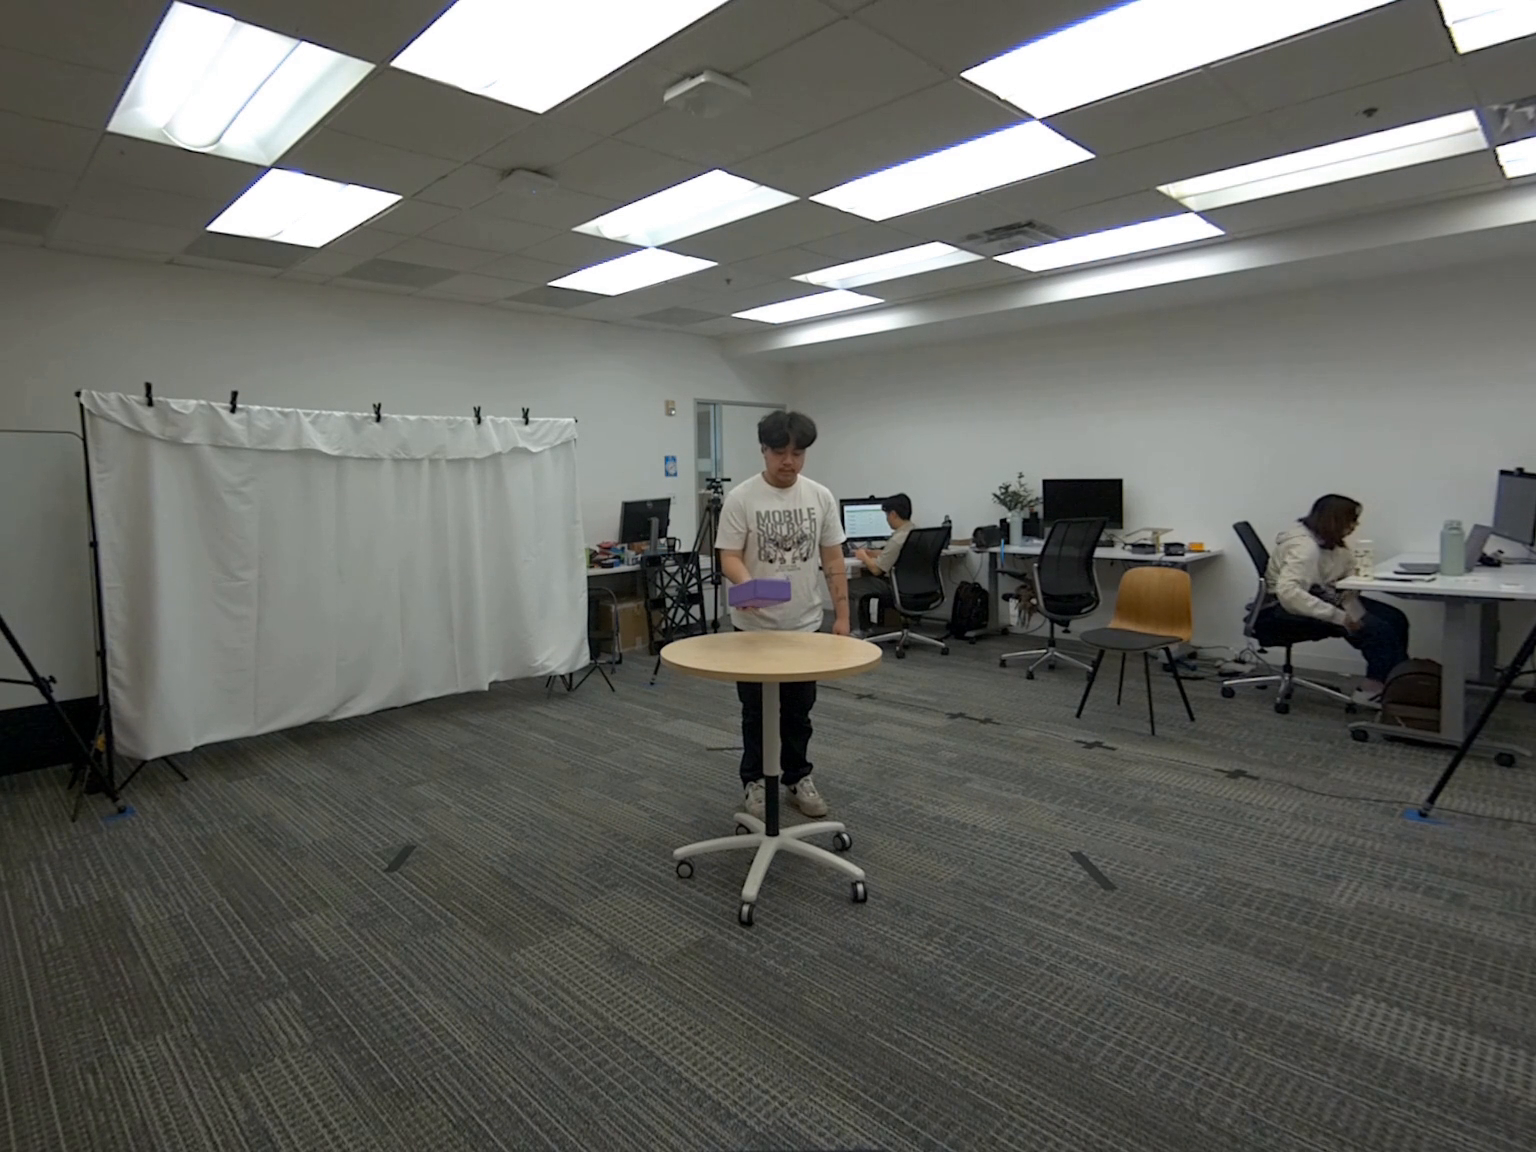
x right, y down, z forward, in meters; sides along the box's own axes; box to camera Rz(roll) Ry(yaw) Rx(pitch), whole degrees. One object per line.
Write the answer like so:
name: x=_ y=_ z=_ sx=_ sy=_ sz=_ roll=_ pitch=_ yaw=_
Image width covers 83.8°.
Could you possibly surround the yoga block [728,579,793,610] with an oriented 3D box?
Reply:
yoga block: x=-0.032 y=0.066 z=3.069 sx=0.146 sy=0.077 sz=0.231 roll=1 pitch=-10 yaw=-22
